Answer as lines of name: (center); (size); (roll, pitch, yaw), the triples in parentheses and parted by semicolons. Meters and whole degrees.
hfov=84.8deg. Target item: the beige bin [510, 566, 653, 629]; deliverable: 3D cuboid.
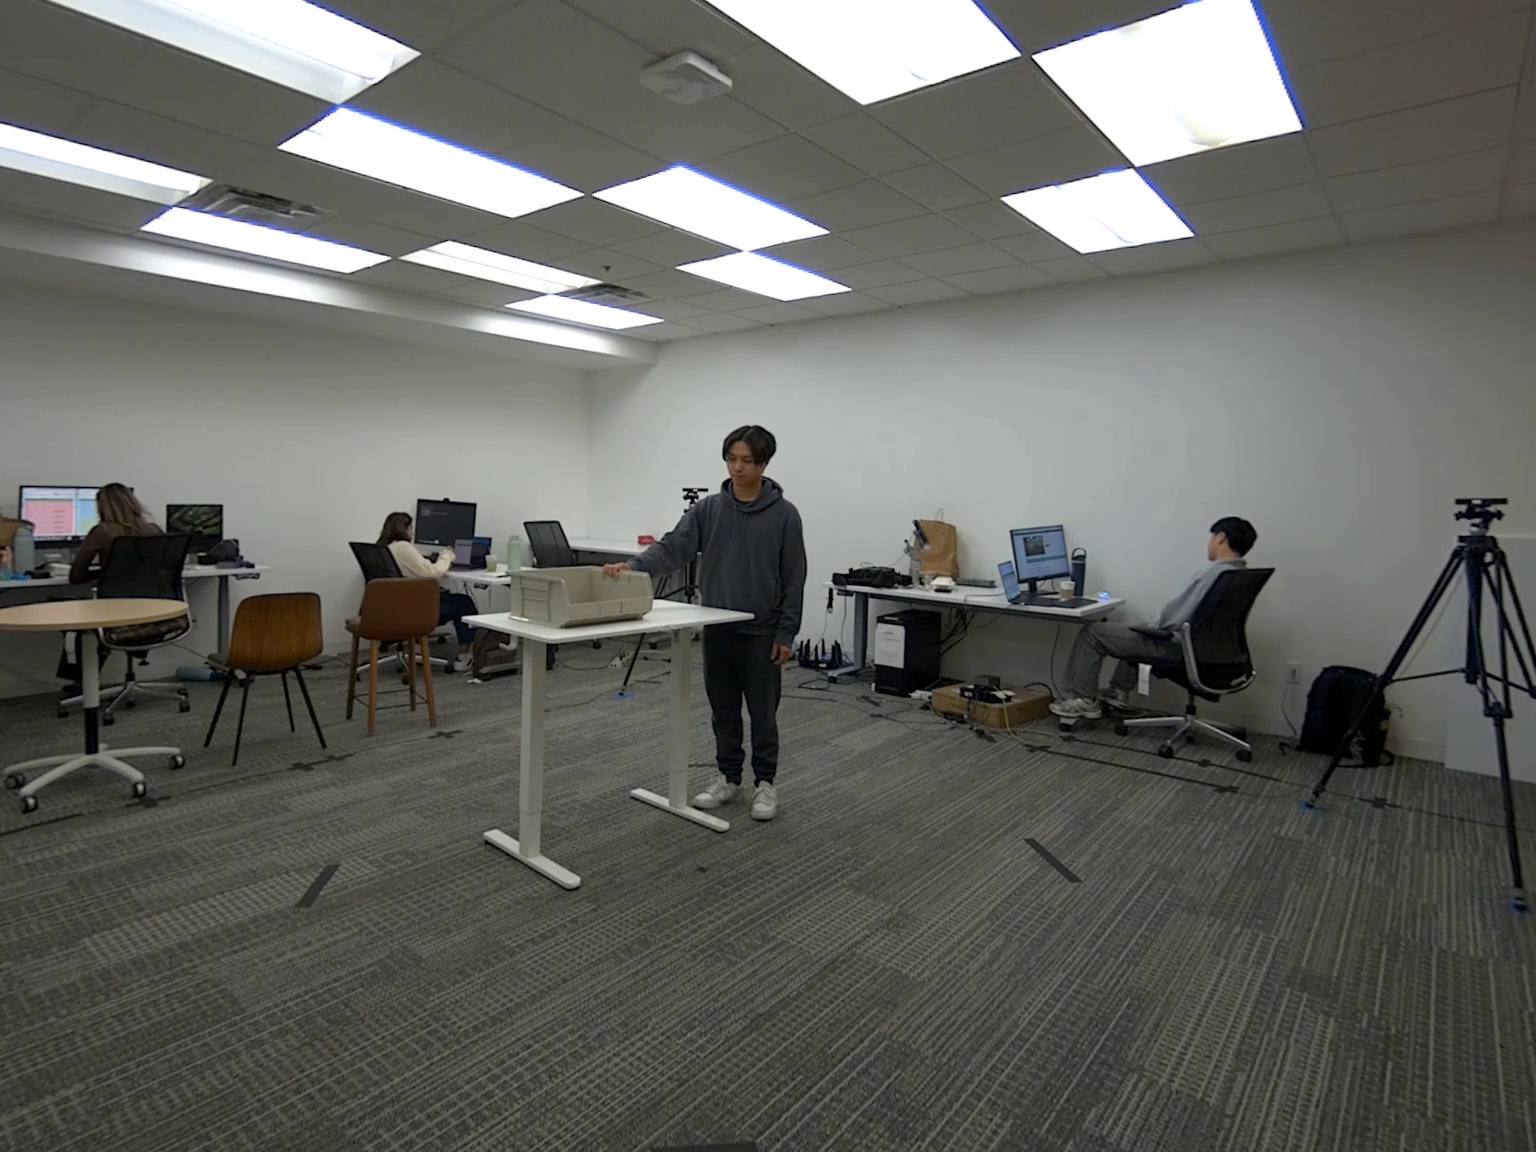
beige bin: (-0.724, 0.076, 3.241); (0.390, 0.188, 0.410); (5, 6, 40)
